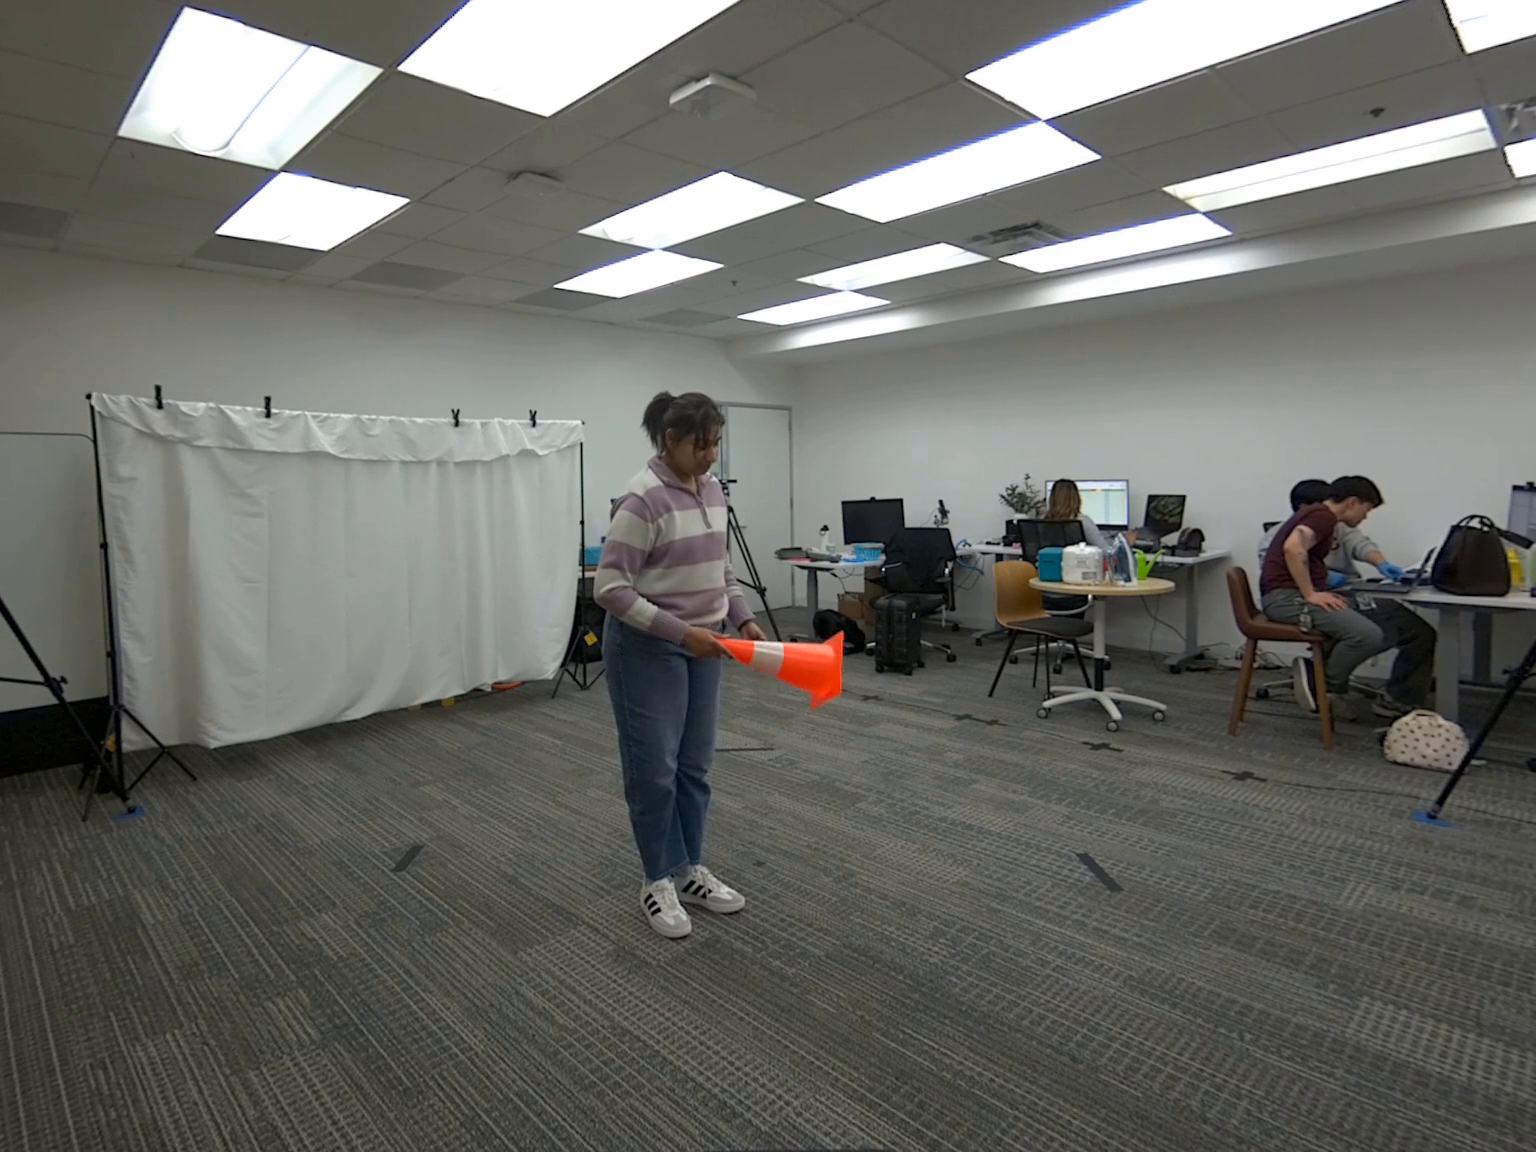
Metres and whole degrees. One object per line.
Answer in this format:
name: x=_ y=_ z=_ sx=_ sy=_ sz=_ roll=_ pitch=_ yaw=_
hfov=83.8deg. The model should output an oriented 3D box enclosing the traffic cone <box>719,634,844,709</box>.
traffic cone: x=-0.003 y=0.254 z=2.555 sx=0.377 sy=0.206 sz=0.205 roll=14 pitch=-22 yaw=-14
